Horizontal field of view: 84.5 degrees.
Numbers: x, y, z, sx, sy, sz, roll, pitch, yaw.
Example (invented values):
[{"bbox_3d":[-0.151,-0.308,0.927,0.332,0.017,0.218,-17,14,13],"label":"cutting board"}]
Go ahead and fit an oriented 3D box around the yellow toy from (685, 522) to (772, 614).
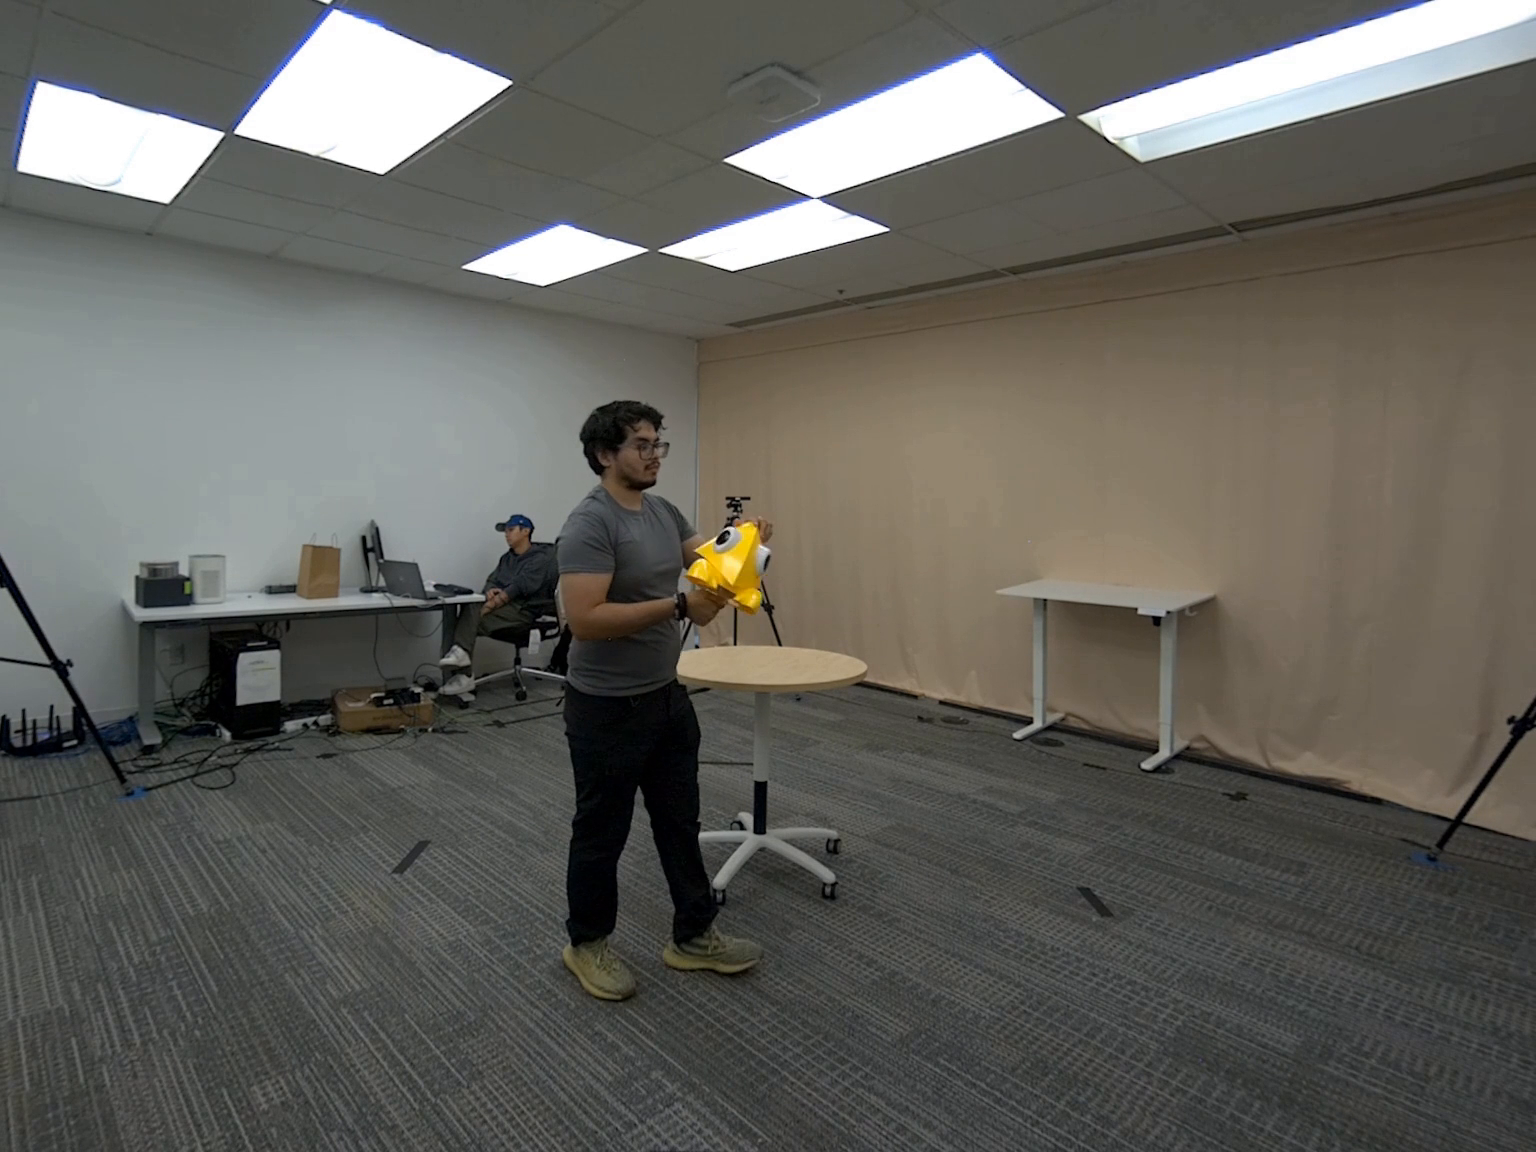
[{"bbox_3d":[-0.083,-0.050,2.128,0.203,0.231,0.194,29,-10,-10],"label":"yellow toy"}]
